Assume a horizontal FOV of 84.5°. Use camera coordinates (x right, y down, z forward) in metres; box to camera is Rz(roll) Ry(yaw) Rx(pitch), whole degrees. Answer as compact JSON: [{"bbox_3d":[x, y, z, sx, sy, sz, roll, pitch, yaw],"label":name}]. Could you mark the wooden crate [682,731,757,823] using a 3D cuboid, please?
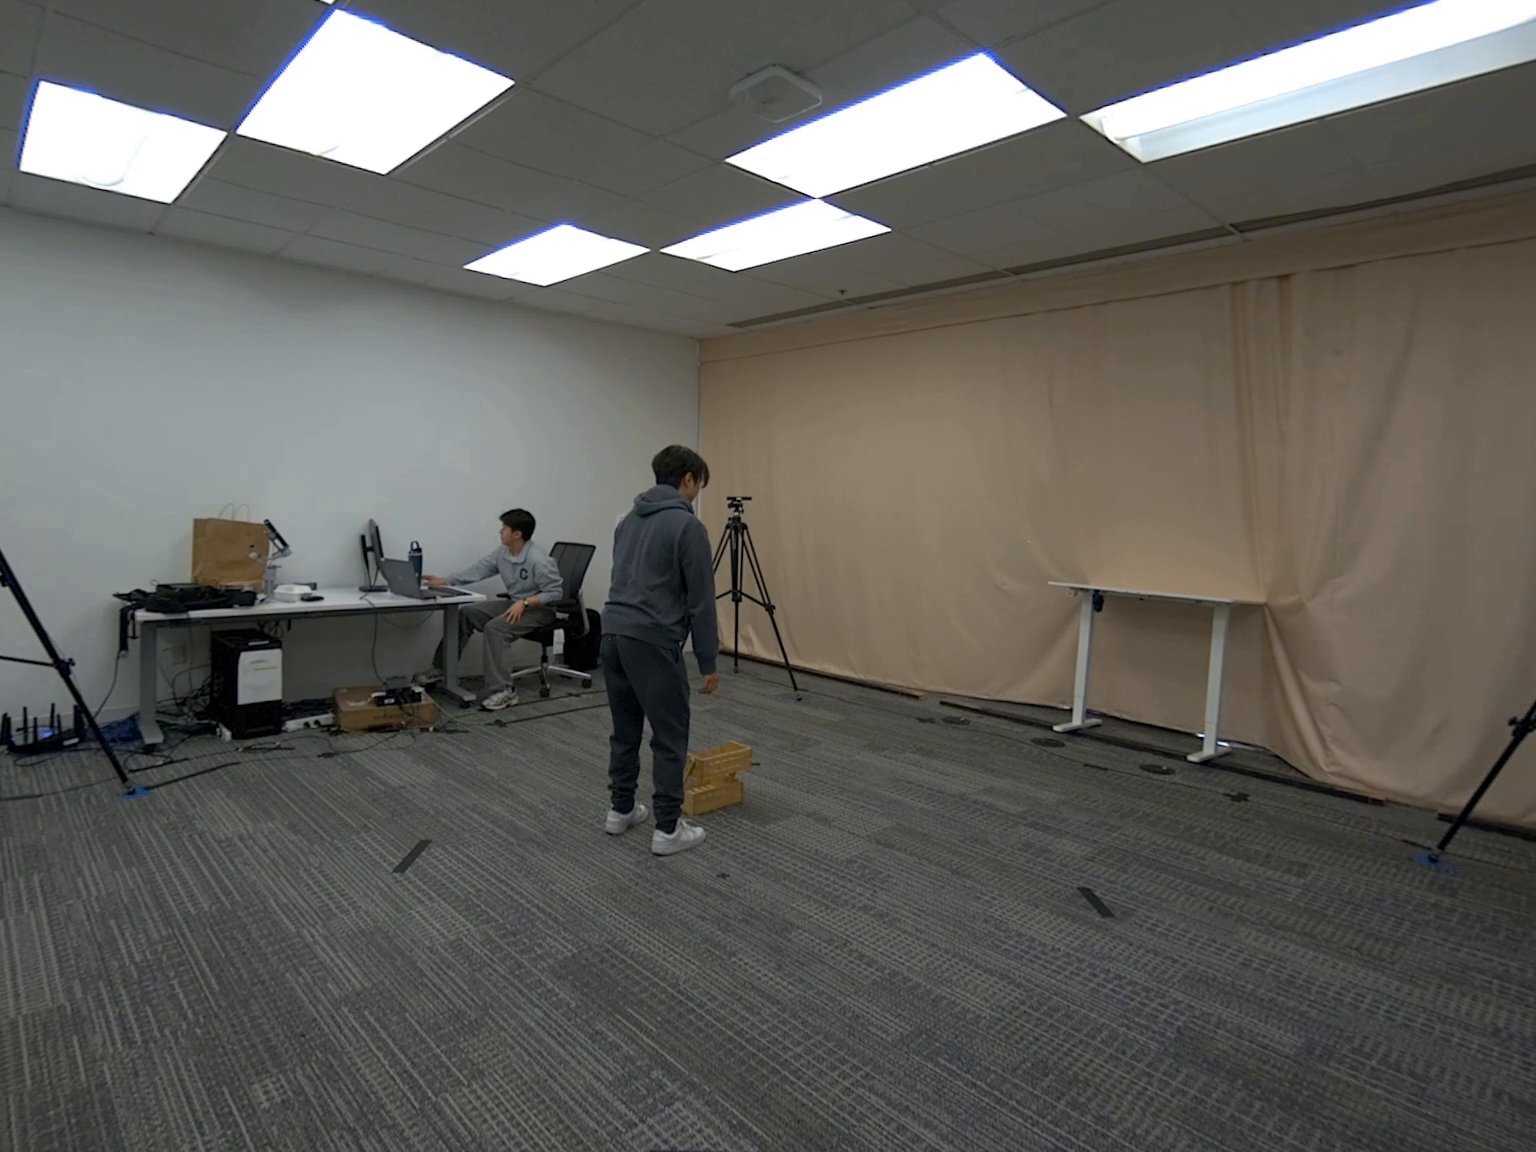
[{"bbox_3d":[-0.284,0.904,3.855,0.317,0.272,0.310,-2,6,-44],"label":"wooden crate"}]
